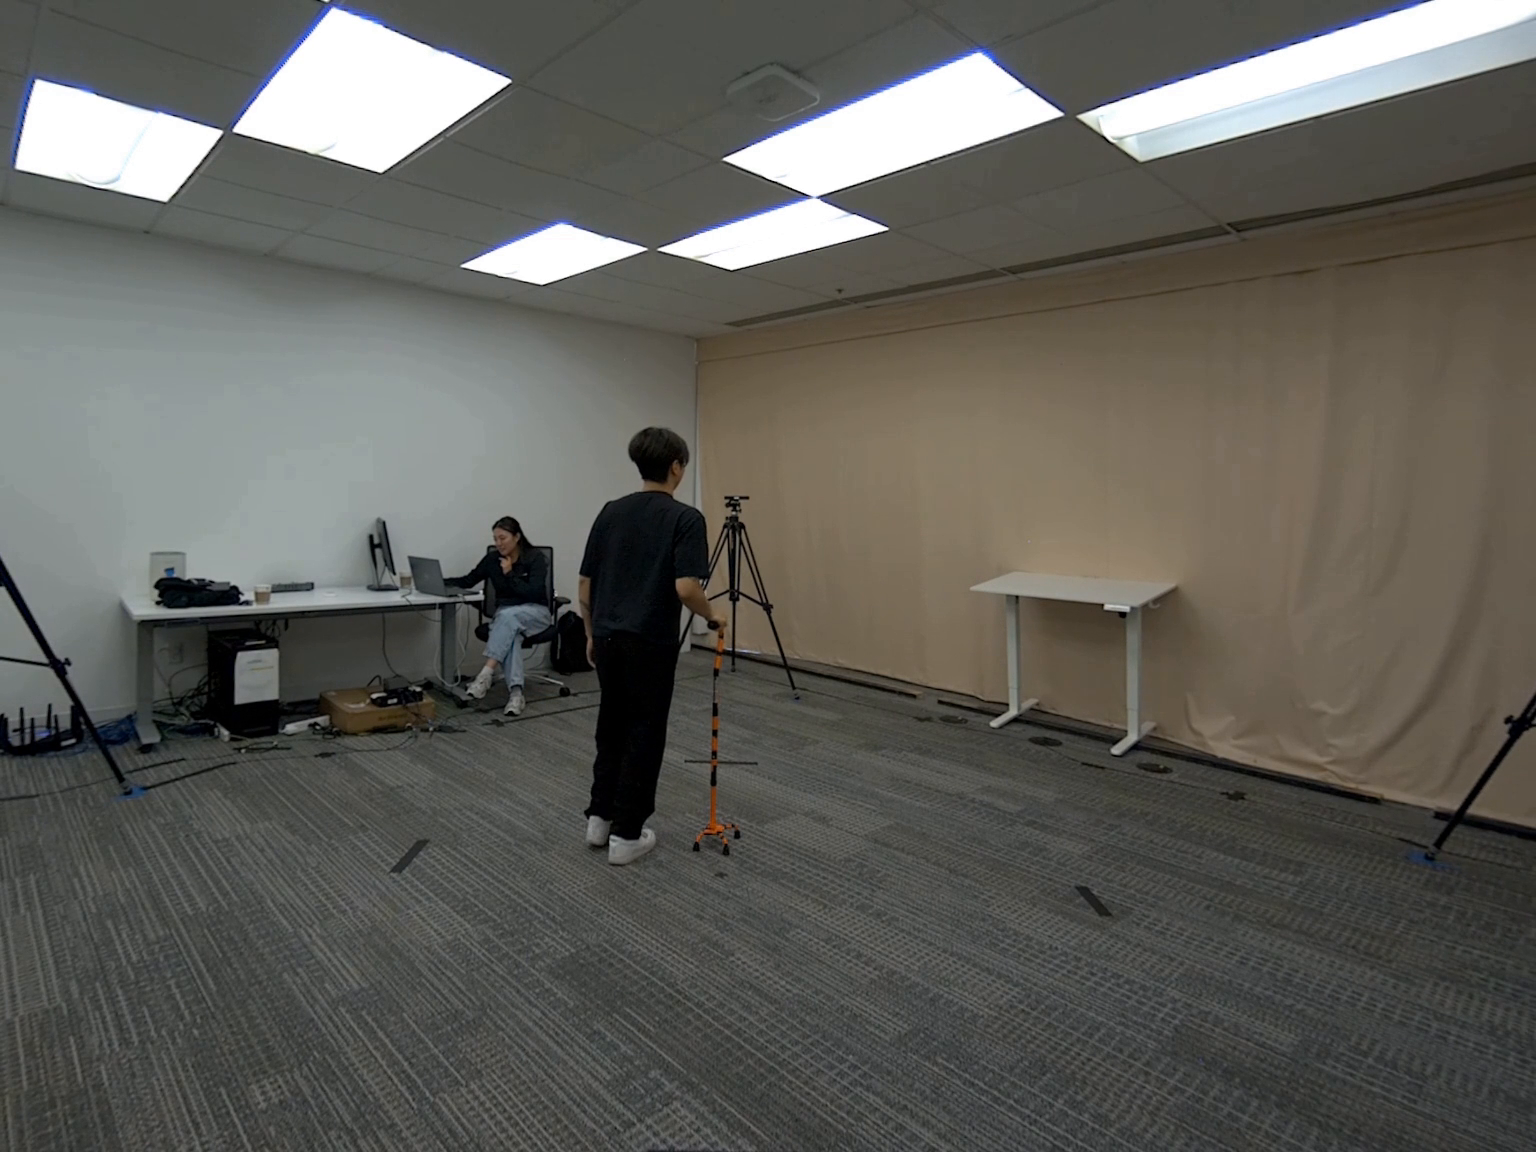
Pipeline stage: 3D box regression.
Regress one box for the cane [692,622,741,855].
[{"bbox_3d":[-0.204,0.627,3.378,0.153,0.907,0.204,1,1,12],"label":"cane"}]
